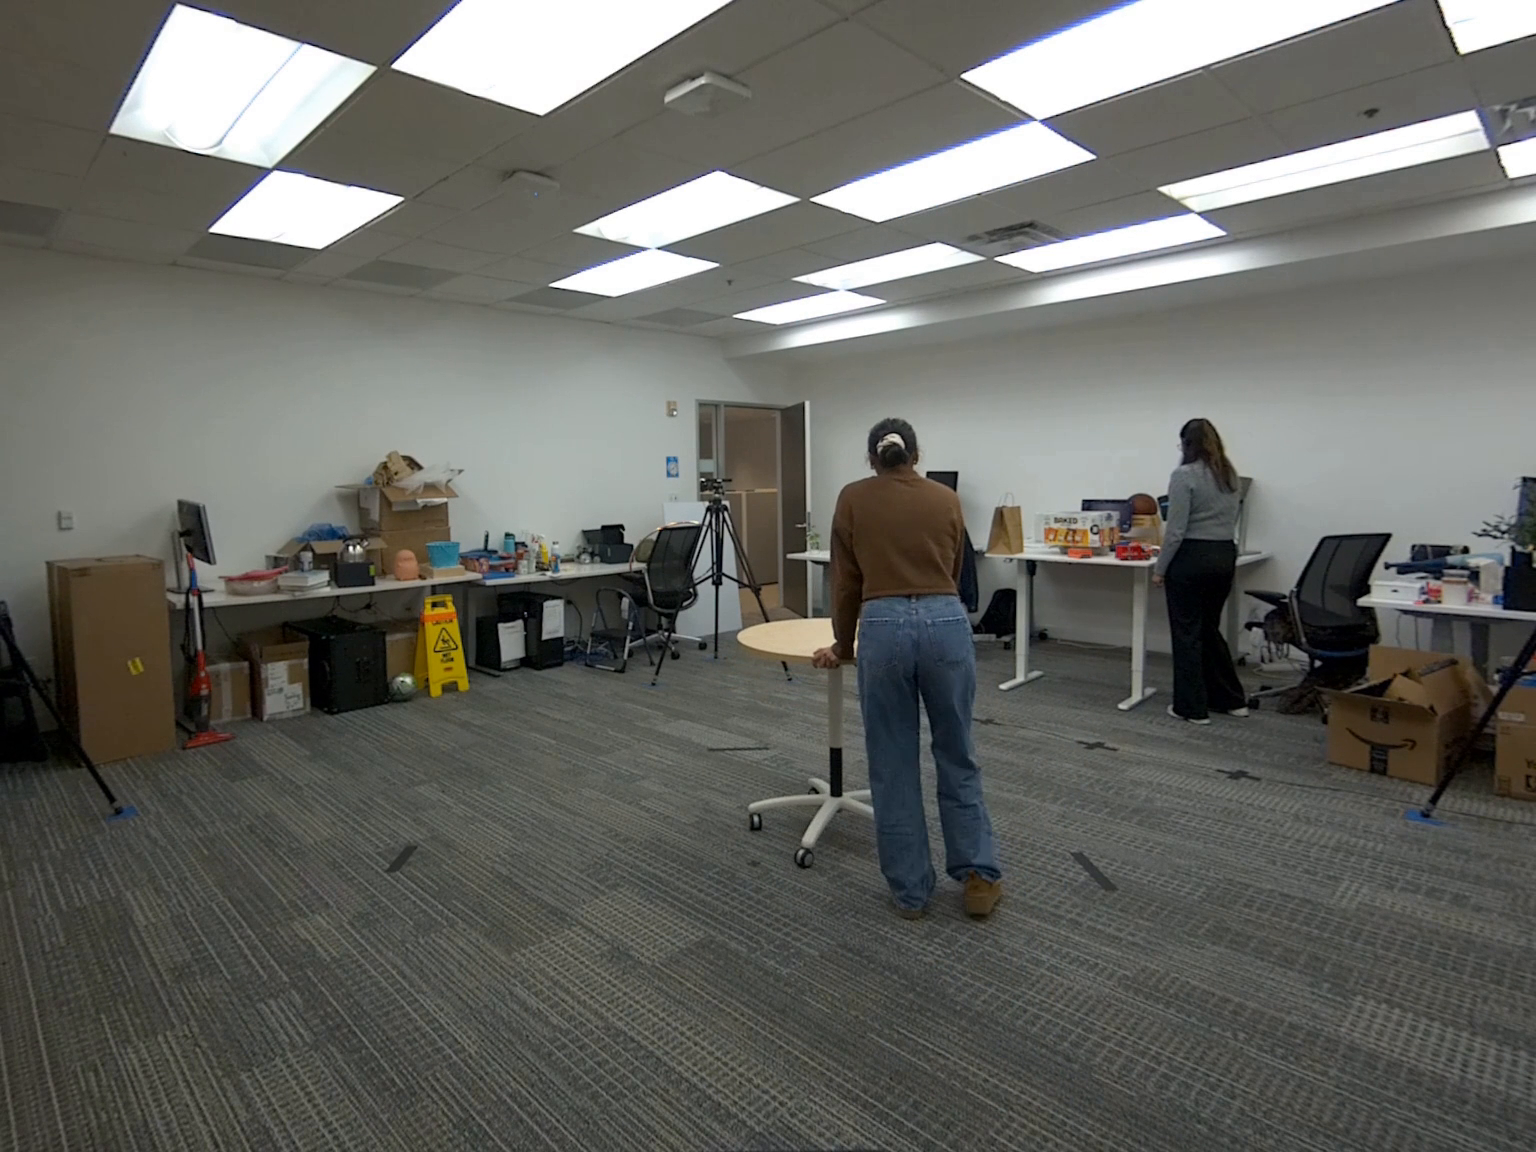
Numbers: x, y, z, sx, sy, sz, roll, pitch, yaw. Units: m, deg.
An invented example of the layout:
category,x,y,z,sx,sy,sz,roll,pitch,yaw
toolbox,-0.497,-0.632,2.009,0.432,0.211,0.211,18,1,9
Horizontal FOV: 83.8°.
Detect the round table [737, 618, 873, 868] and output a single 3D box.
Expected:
category,x,y,z,sx,sy,sz,roll,pitch,yaw
round table,0.270,0.621,3.360,0.763,0.791,0.768,-1,5,-2
